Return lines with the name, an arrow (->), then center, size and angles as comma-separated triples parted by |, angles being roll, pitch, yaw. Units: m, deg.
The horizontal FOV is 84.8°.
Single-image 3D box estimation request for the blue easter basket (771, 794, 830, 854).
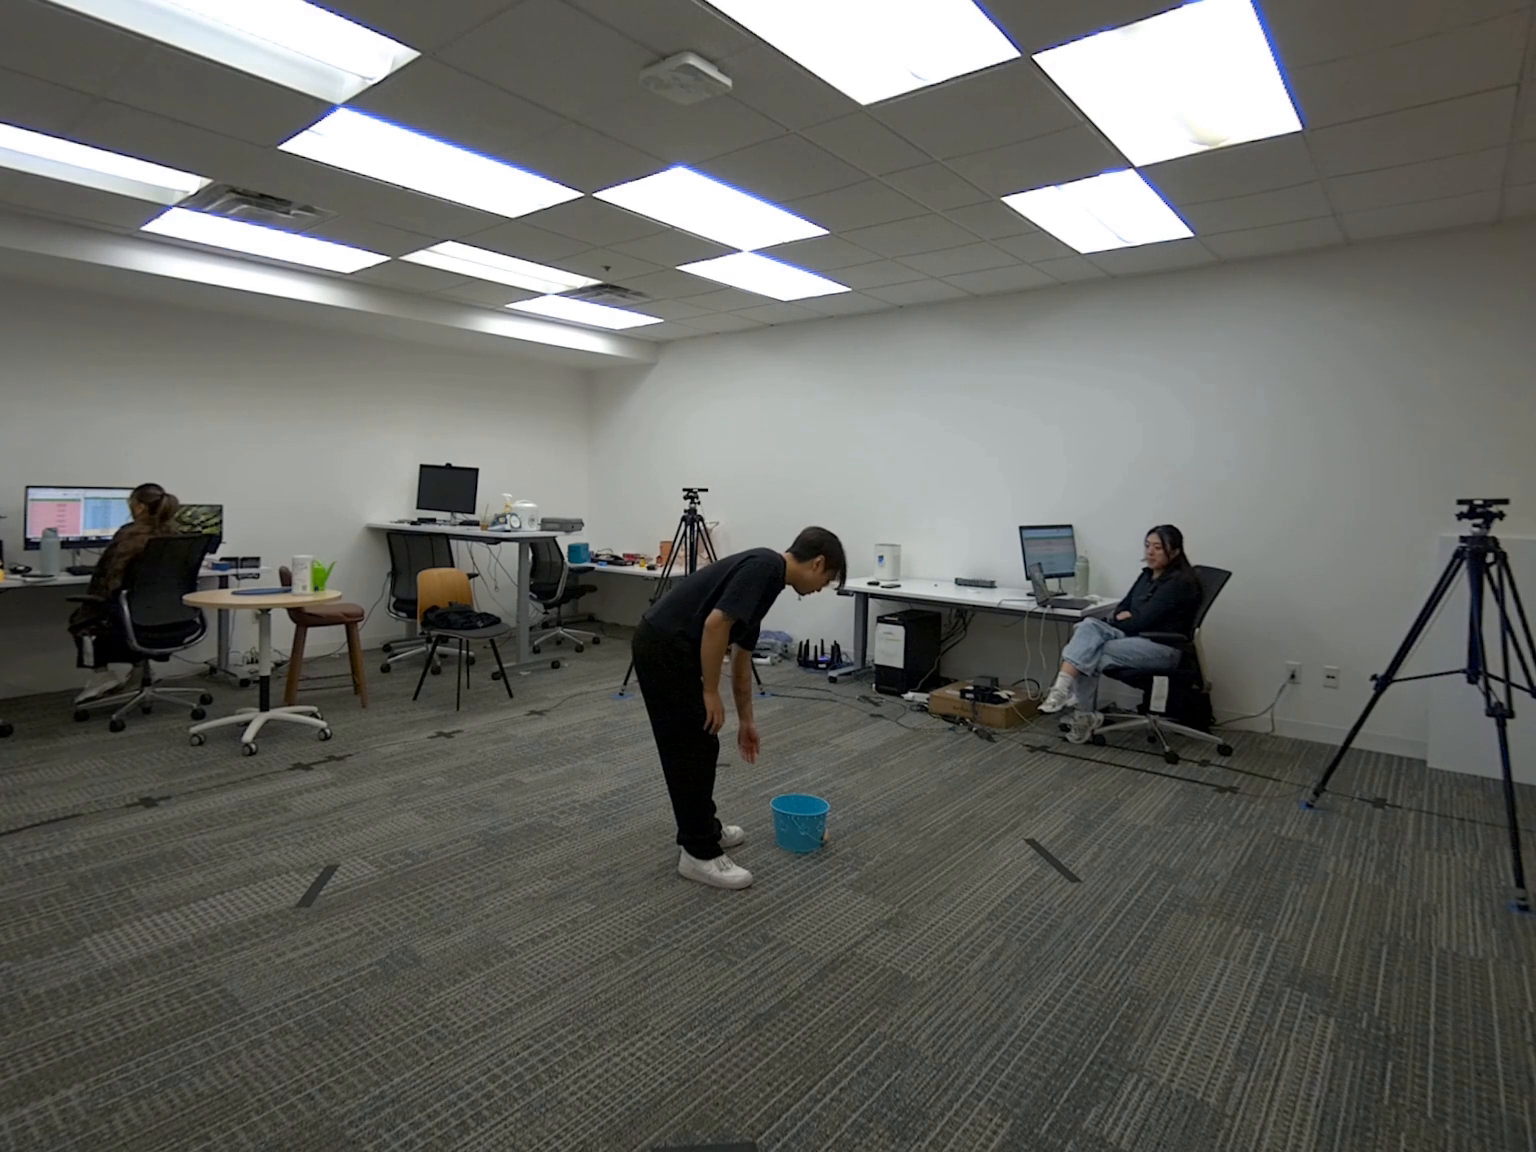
blue easter basket -> 0.116, 0.977, 3.362 | 0.243, 0.155, 0.245 | 1, 5, -2
